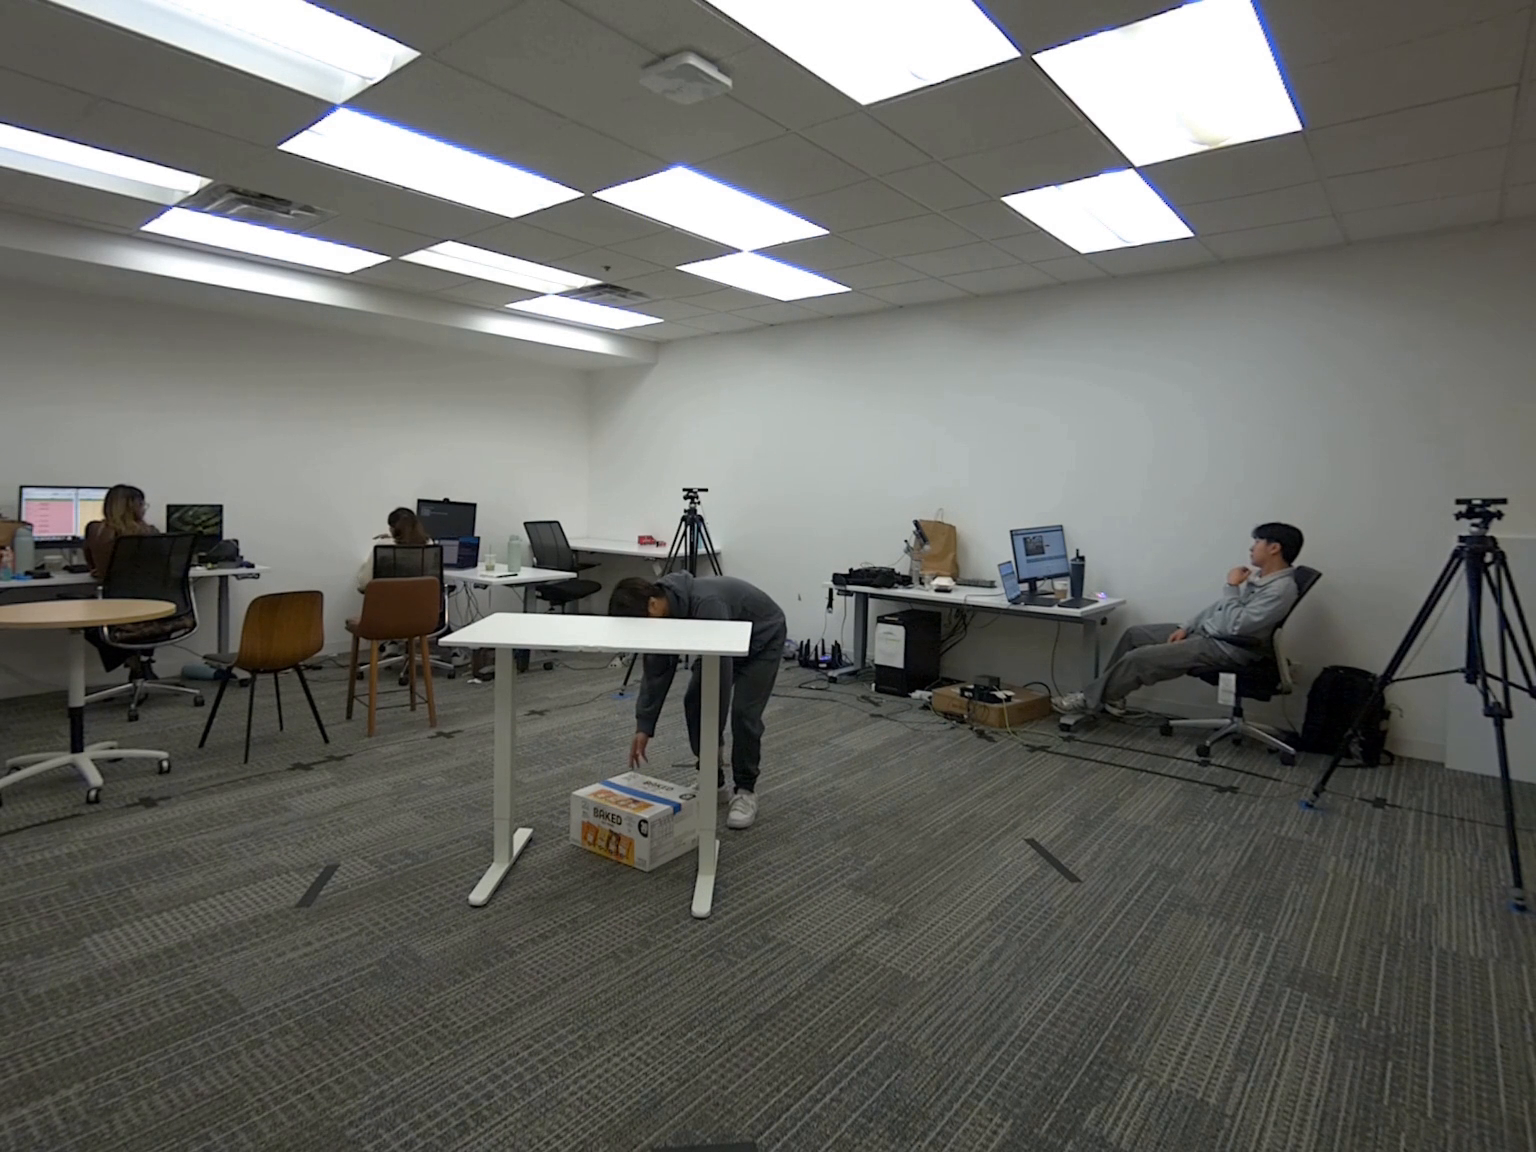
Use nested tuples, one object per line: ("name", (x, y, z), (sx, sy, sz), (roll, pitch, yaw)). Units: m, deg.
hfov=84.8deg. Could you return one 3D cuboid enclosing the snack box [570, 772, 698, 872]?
("snack box", (-0.515, 0.944, 3.315), (0.418, 0.205, 0.331), (4, 6, 35))
